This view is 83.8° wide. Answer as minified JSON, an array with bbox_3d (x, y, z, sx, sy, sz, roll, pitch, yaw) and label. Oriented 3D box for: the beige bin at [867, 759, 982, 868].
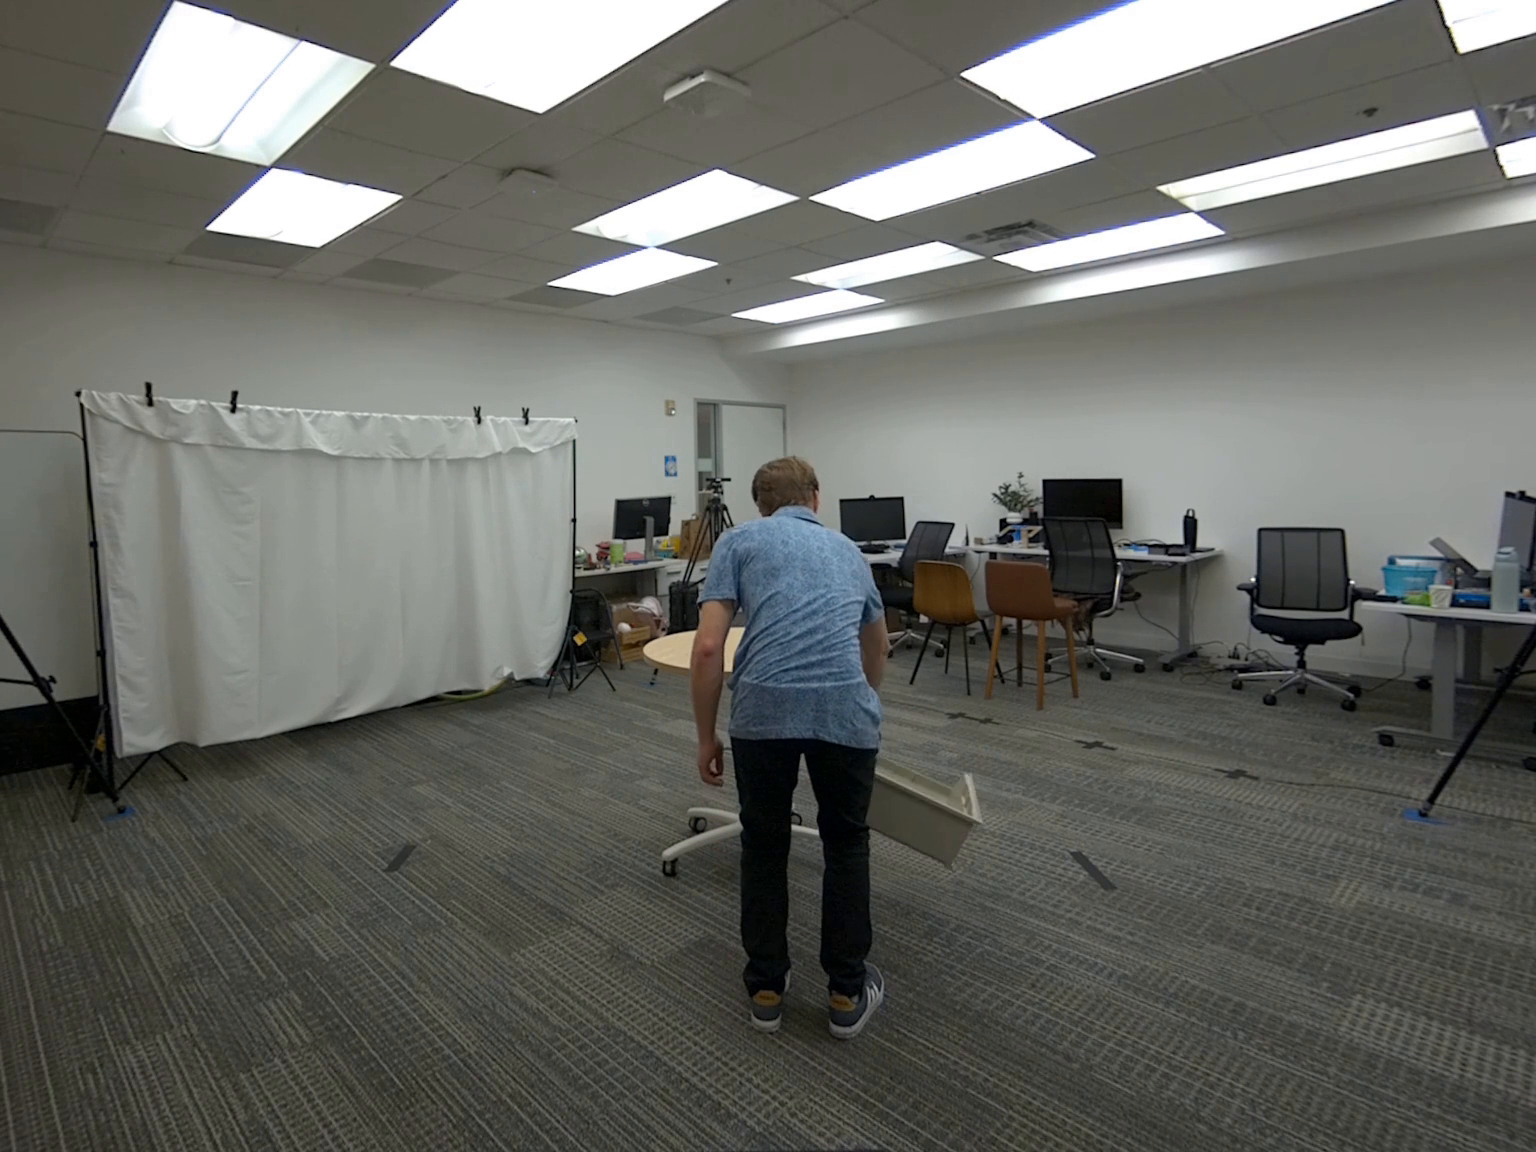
[{"bbox_3d":[0.421,0.655,2.648,0.427,0.187,0.376,19,14,8],"label":"beige bin"}]
